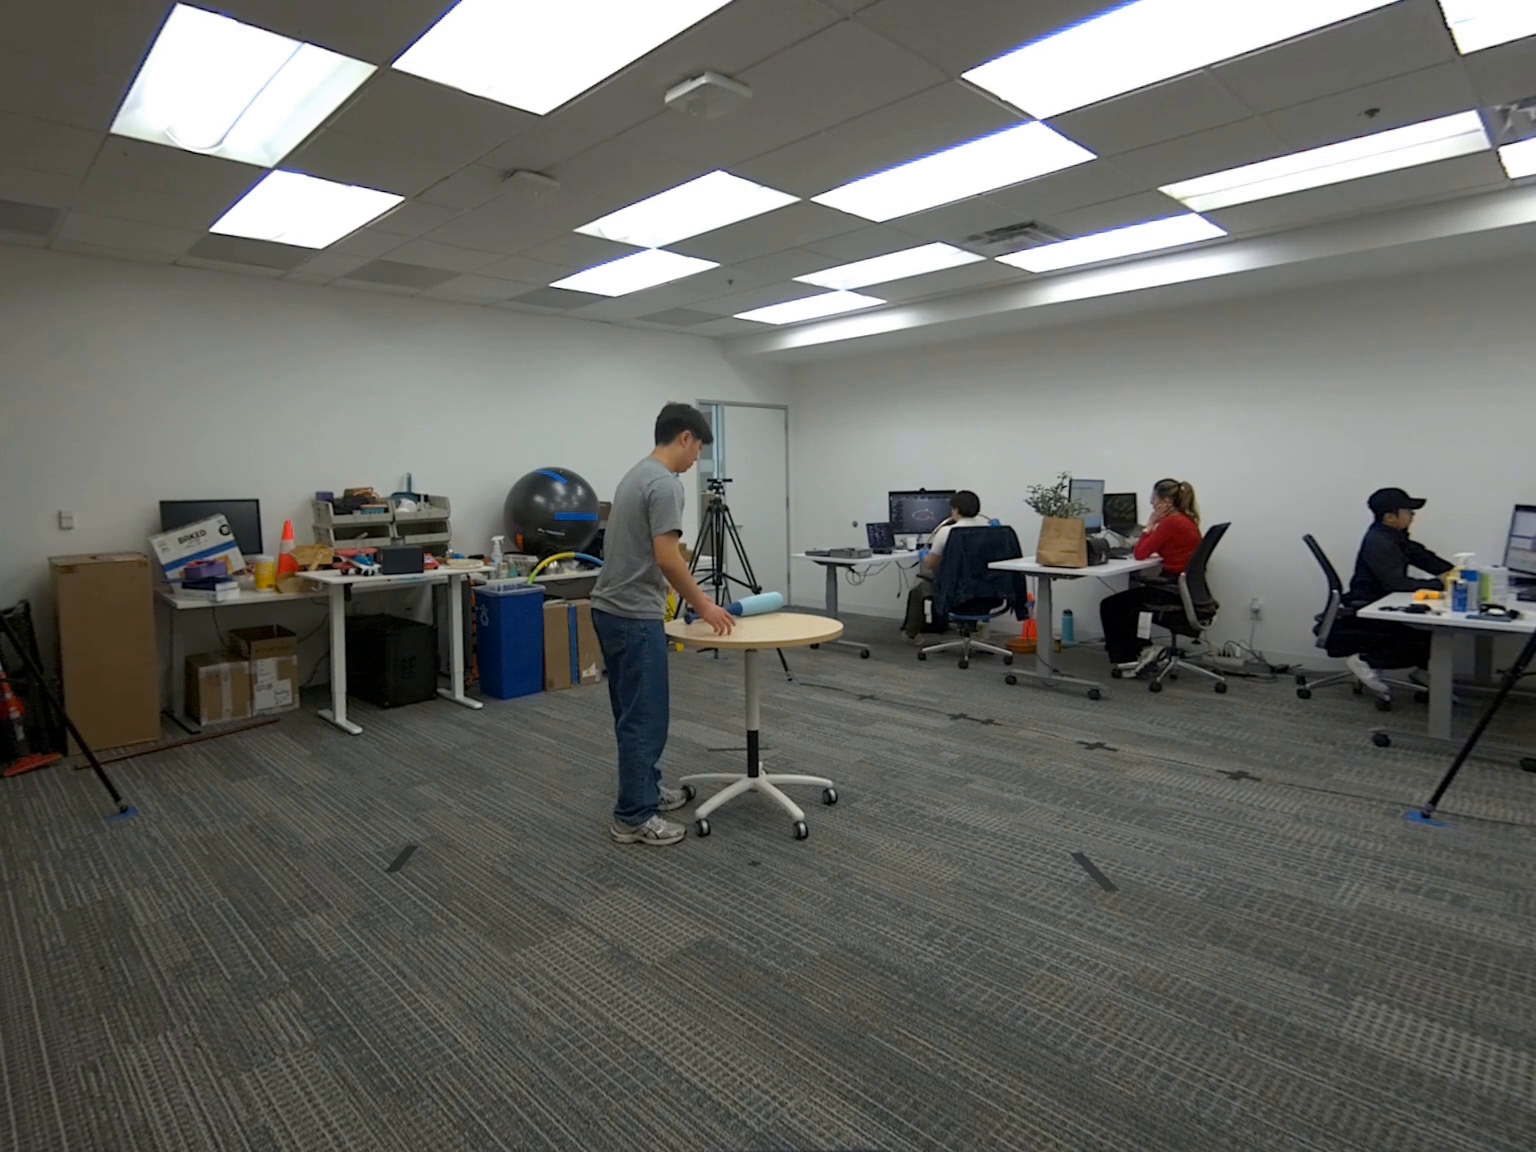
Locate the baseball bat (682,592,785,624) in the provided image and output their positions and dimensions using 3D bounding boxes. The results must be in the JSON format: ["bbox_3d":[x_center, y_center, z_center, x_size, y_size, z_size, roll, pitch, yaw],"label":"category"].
[{"bbox_3d":[-0.143,0.154,3.809,0.530,0.088,0.092,-11,10,-39],"label":"baseball bat"}]
